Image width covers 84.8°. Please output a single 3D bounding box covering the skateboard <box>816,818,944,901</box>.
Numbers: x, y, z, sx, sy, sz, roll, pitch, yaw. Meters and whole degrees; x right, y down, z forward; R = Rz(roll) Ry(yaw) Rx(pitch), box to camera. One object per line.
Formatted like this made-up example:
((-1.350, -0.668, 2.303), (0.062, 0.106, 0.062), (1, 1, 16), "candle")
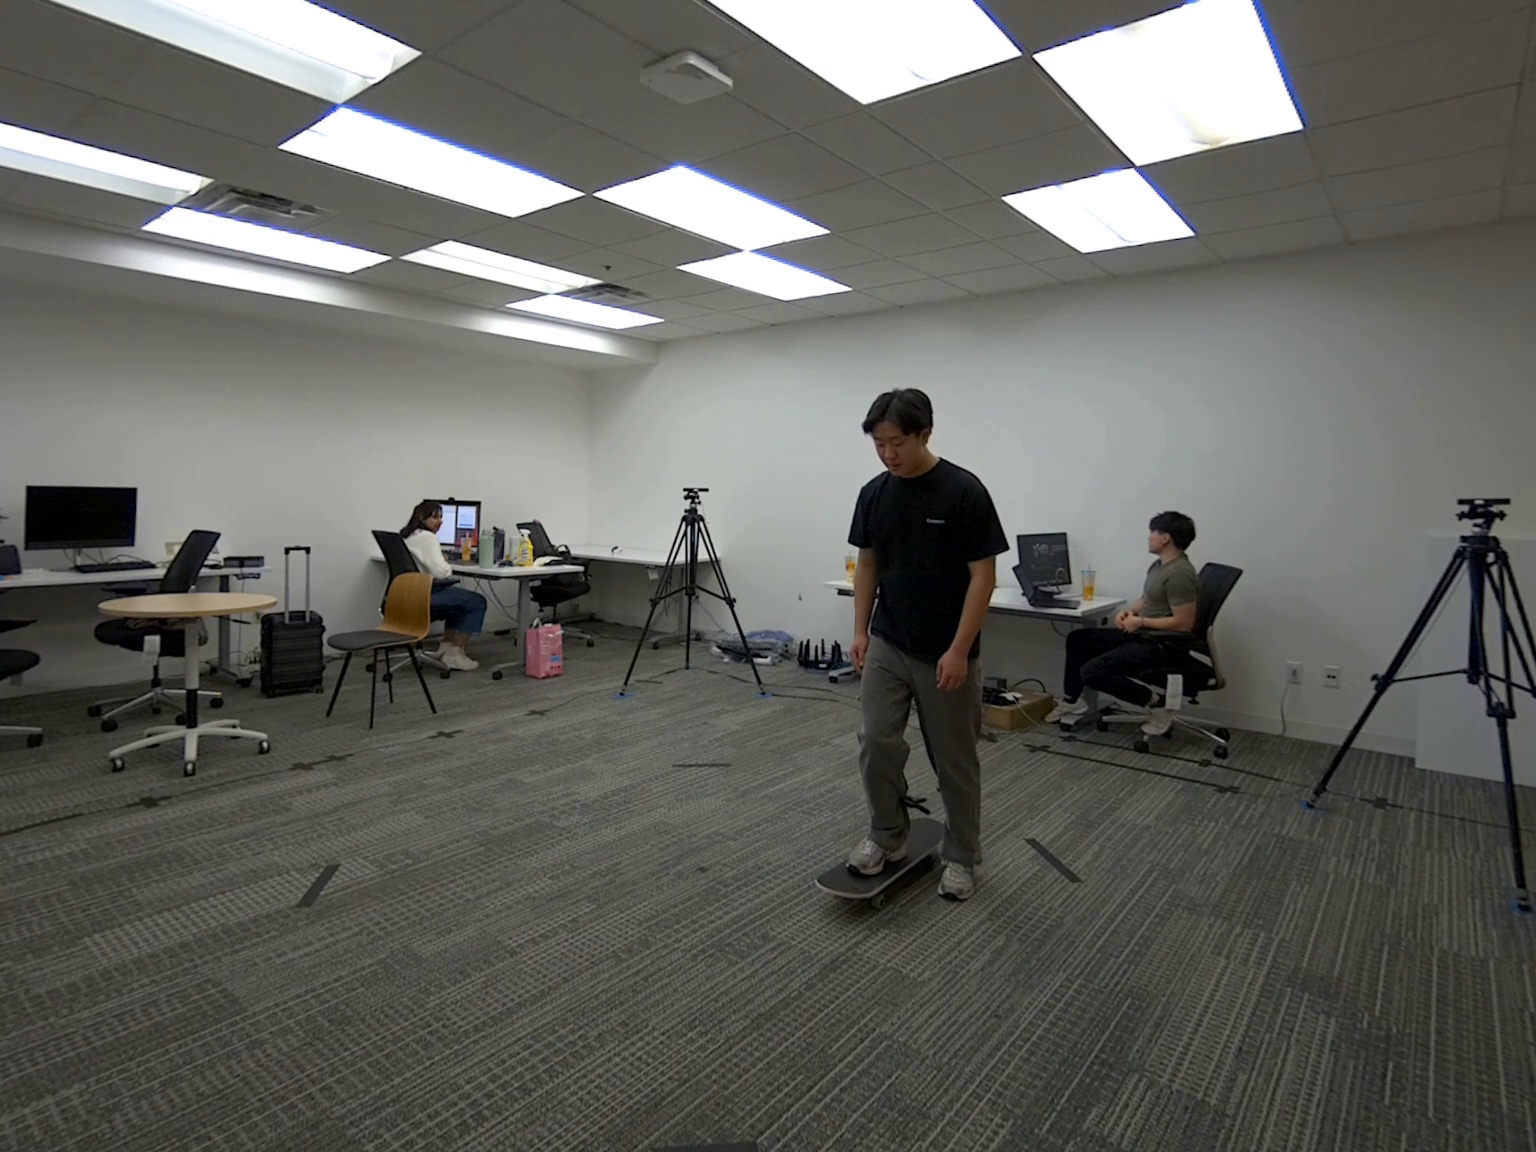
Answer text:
((0.414, 1.036, 3.049), (0.200, 0.110, 0.763), (4, 6, 35), "skateboard")
